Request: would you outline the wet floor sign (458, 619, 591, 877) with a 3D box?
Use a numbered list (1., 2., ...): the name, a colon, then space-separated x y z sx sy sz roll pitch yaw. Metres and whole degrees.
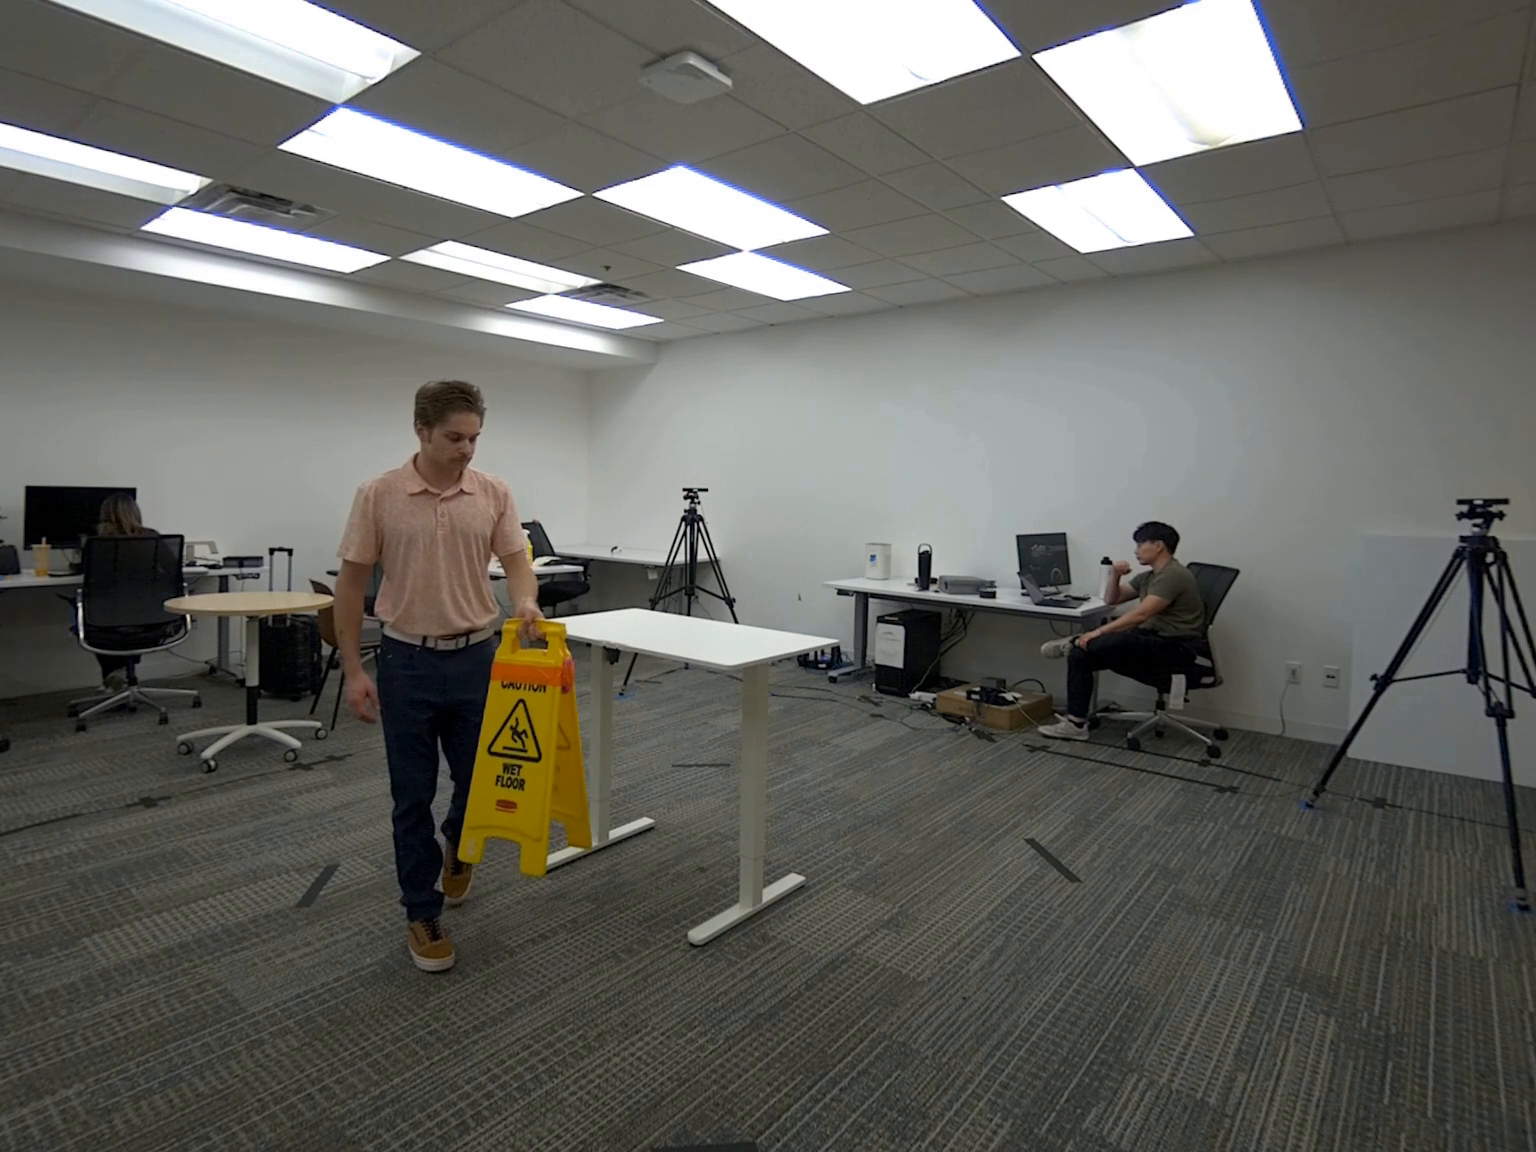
1. wet floor sign: -0.668 0.451 2.366 0.288 0.646 0.283 0 0 21
